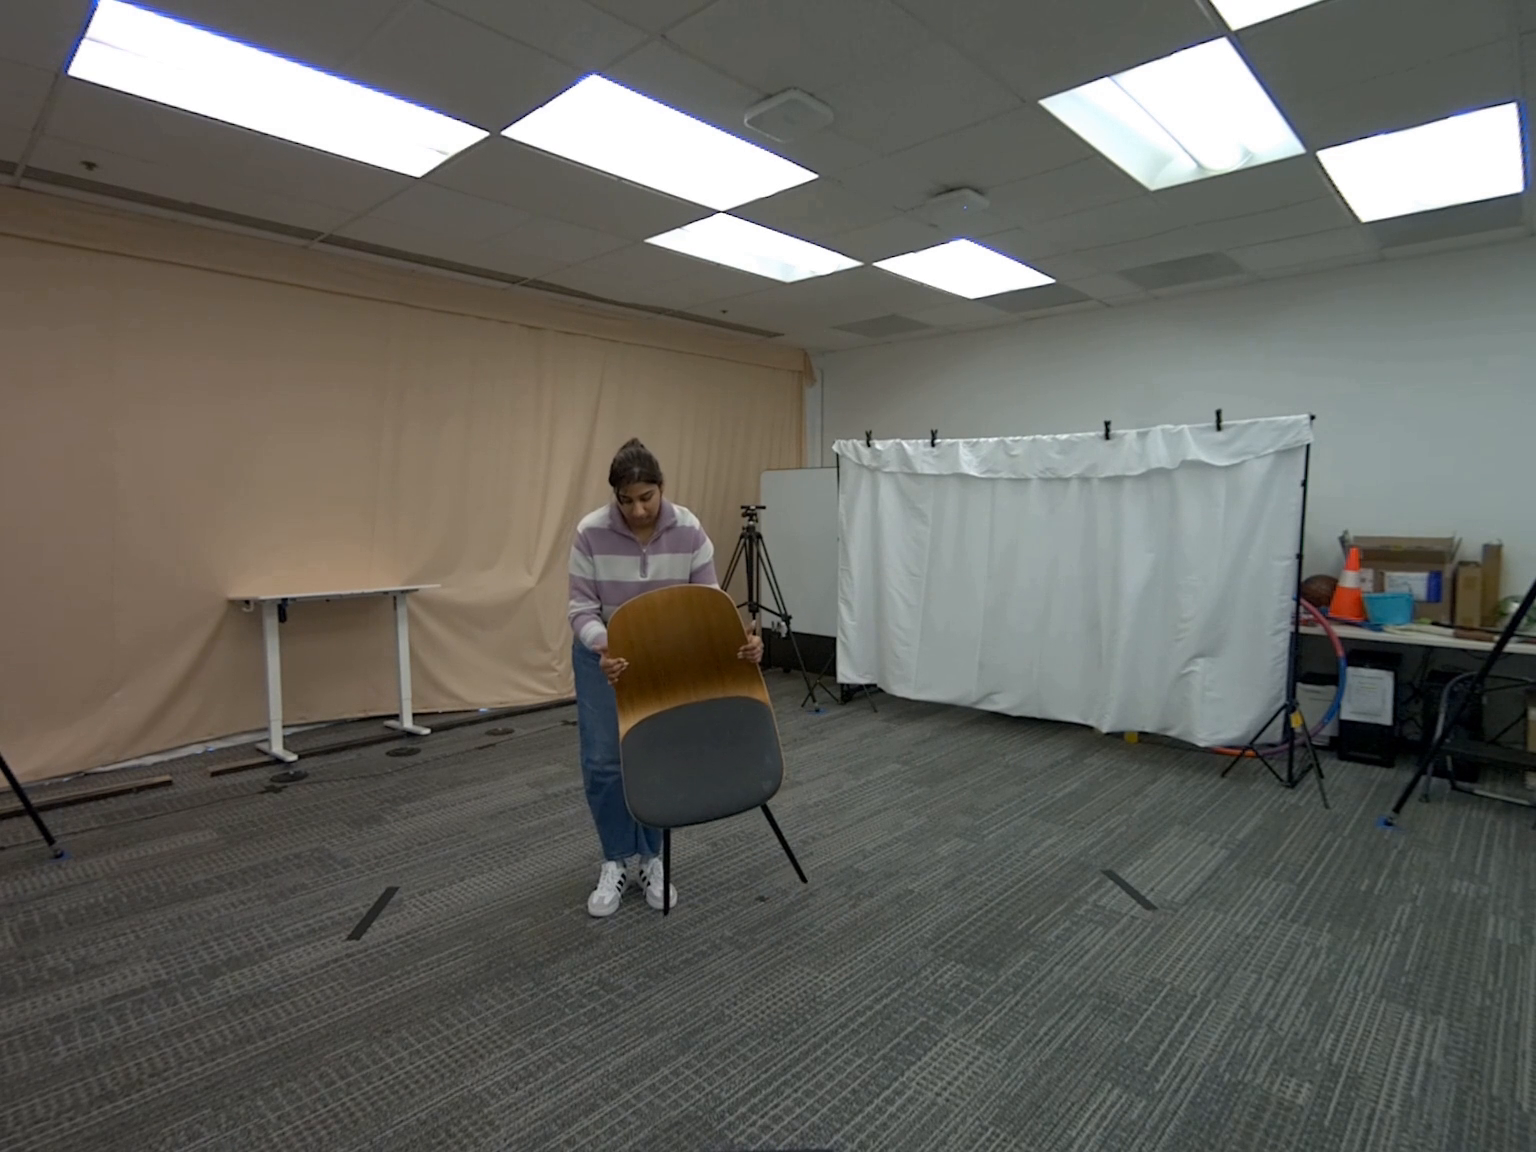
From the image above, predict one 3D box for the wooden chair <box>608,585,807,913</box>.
[{"bbox_3d":[-0.196,0.534,2.513,0.477,0.859,0.536,-12,32,-3],"label":"wooden chair"}]
